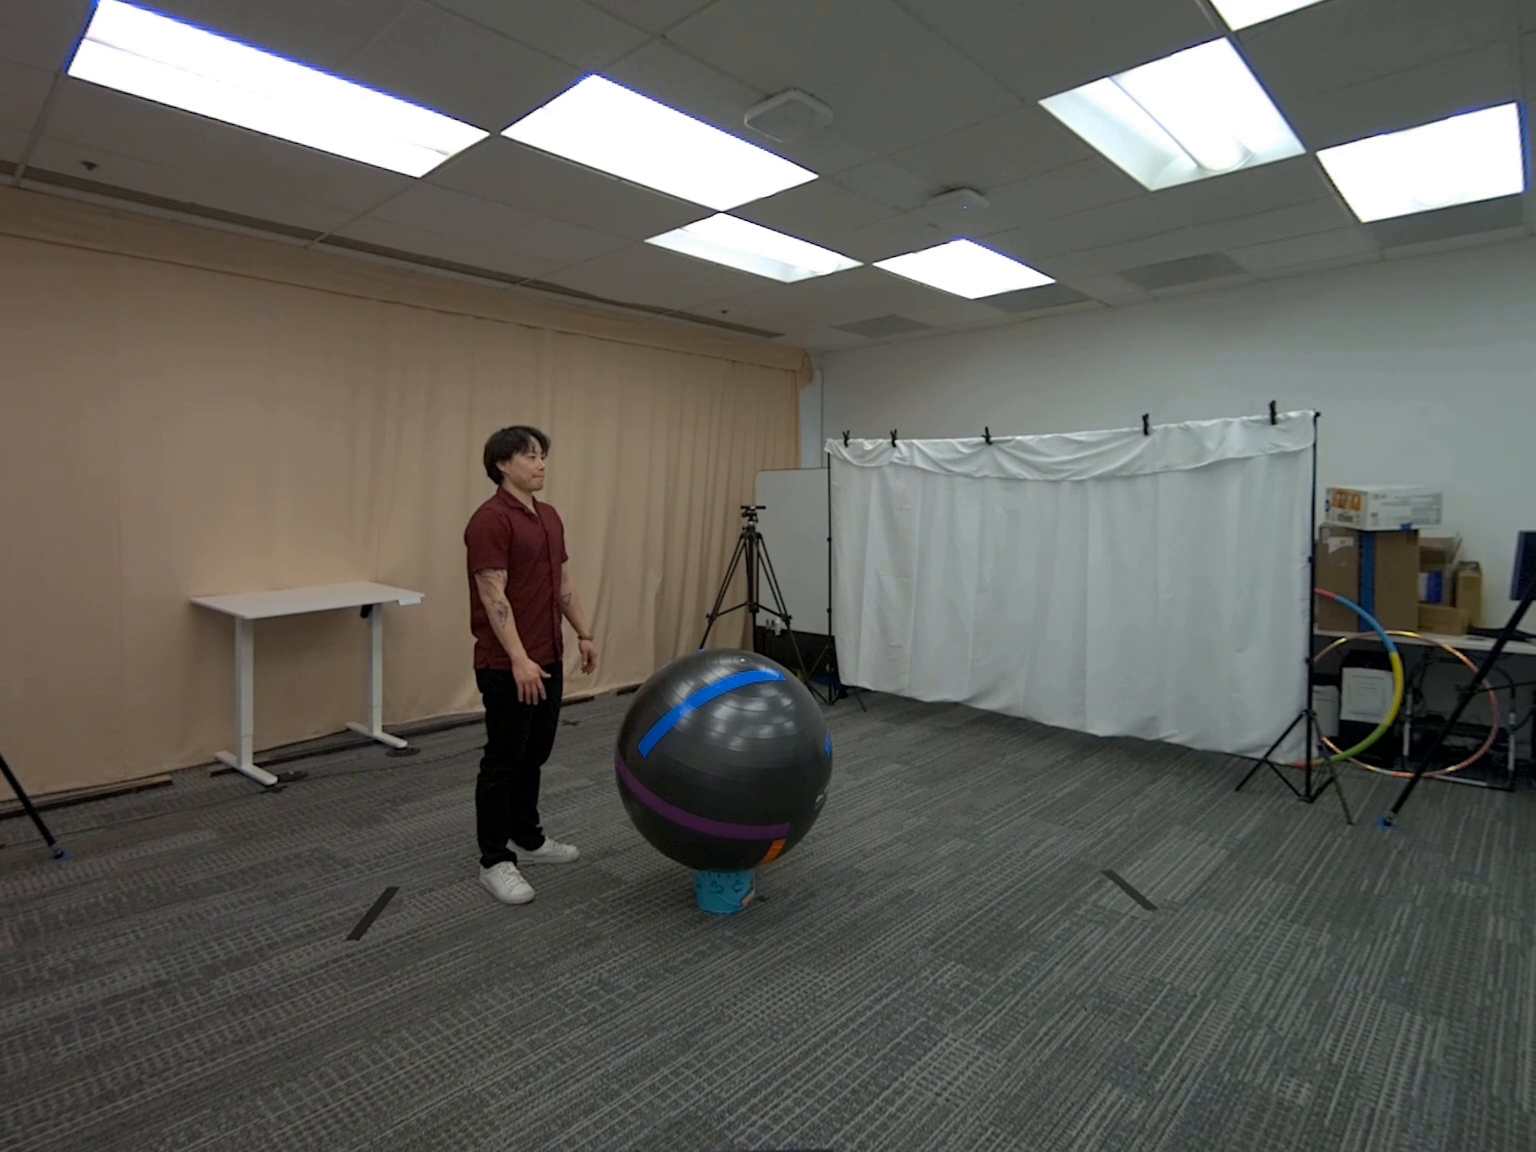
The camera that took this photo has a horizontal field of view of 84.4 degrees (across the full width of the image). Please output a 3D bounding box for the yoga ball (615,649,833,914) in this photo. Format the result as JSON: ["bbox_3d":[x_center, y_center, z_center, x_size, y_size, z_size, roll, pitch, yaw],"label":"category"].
[{"bbox_3d":[-0.141,0.643,2.935,0.757,0.756,0.760,0,4,-2],"label":"yoga ball"}]
